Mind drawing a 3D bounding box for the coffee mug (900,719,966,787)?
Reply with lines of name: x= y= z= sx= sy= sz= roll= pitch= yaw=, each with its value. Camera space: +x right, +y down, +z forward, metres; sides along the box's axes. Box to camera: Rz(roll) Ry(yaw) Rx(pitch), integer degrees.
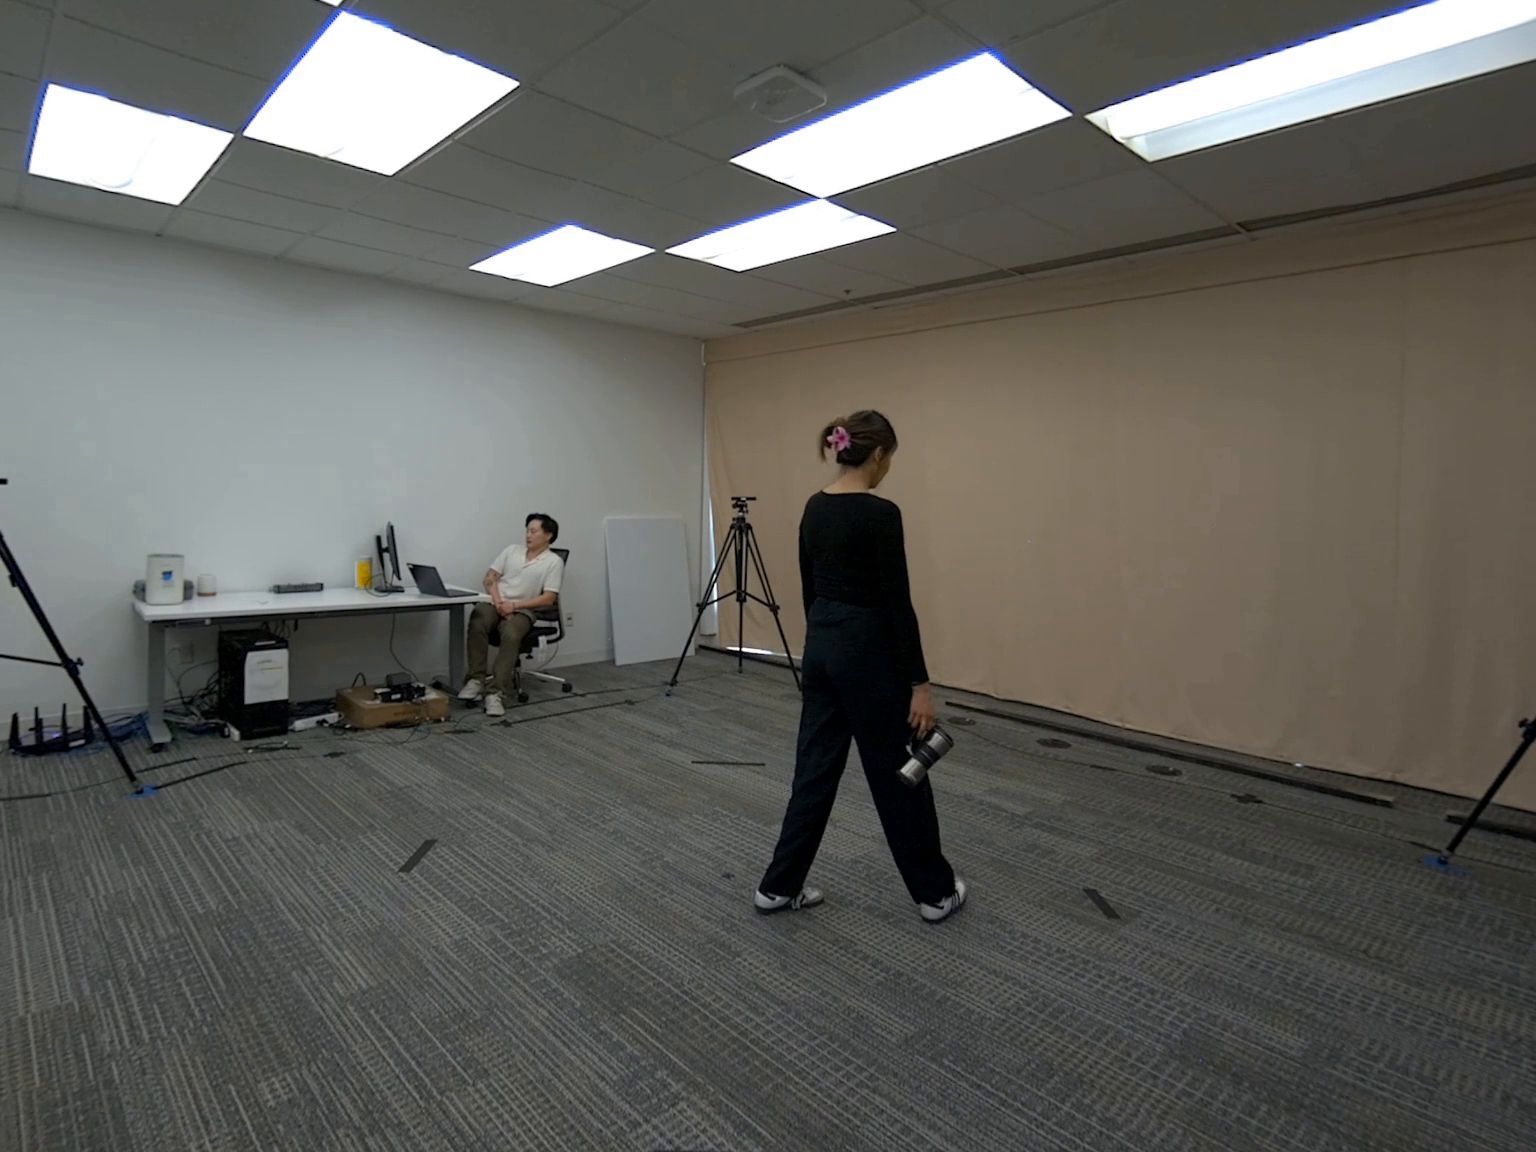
coffee mug: x=0.487 y=0.558 z=2.638 sx=0.203 sy=0.119 sz=0.090 roll=-44 pitch=21 yaw=-9
